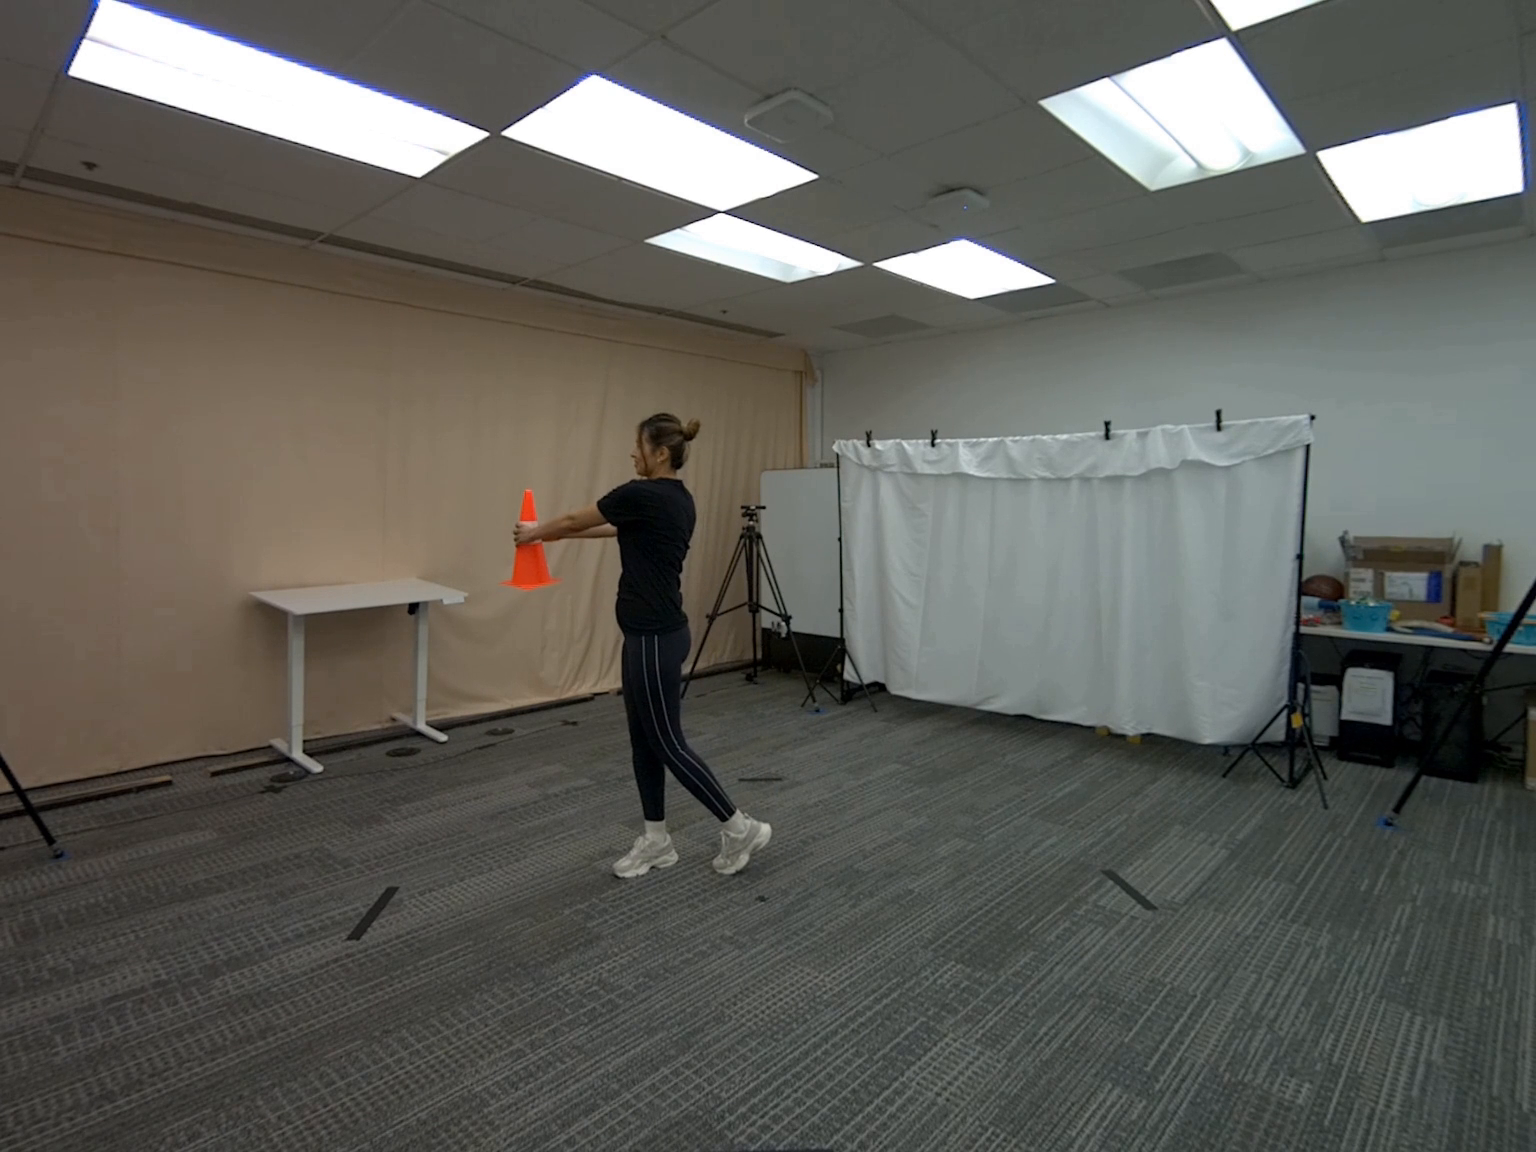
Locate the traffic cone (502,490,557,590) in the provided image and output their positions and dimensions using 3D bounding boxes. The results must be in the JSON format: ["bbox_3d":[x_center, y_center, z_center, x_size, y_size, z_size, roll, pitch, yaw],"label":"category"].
[{"bbox_3d":[-0.991,-0.159,3.451,0.199,0.381,0.211,-6,13,-43],"label":"traffic cone"}]
